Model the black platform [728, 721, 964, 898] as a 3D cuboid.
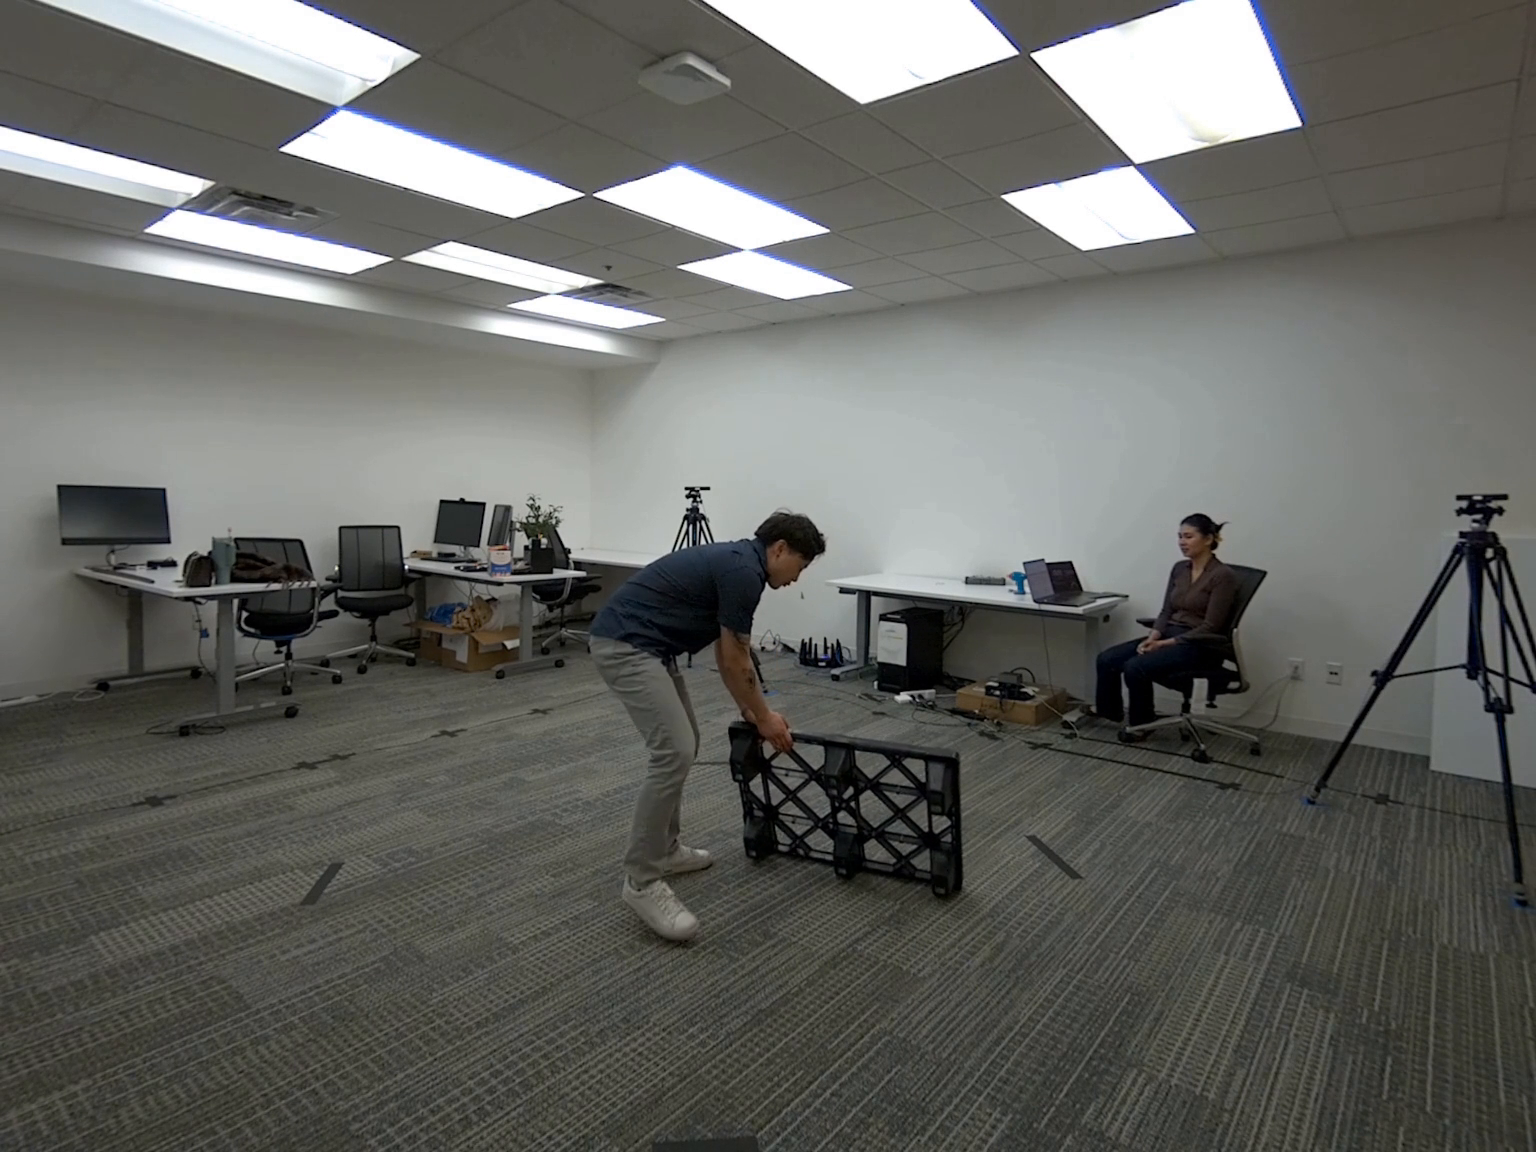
[{"bbox_3d":[0.254,0.827,2.974,0.824,0.589,0.144,3,29,22],"label":"black platform"}]
